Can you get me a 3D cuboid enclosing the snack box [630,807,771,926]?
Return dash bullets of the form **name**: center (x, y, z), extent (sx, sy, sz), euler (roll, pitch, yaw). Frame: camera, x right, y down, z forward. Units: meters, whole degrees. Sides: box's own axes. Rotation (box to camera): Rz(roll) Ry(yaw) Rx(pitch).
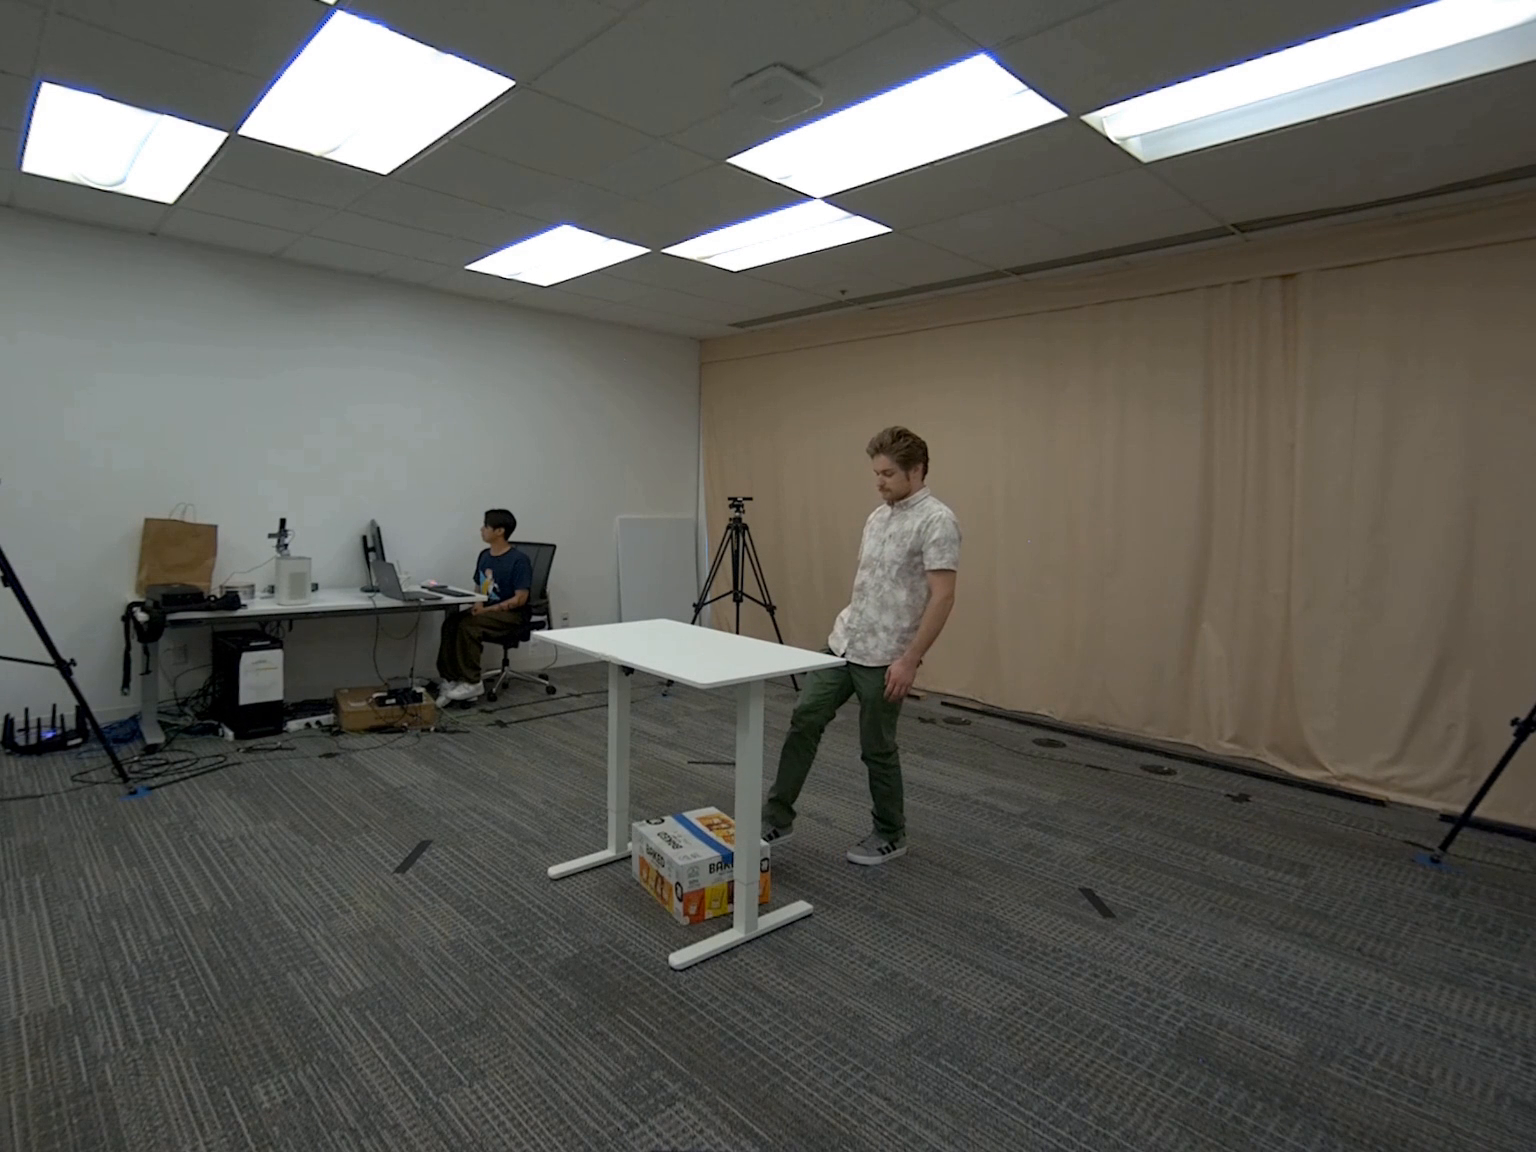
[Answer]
- **snack box**: center (-0.252, 1.016, 2.980), extent (0.333, 0.205, 0.415), euler (-2, 6, -31)
